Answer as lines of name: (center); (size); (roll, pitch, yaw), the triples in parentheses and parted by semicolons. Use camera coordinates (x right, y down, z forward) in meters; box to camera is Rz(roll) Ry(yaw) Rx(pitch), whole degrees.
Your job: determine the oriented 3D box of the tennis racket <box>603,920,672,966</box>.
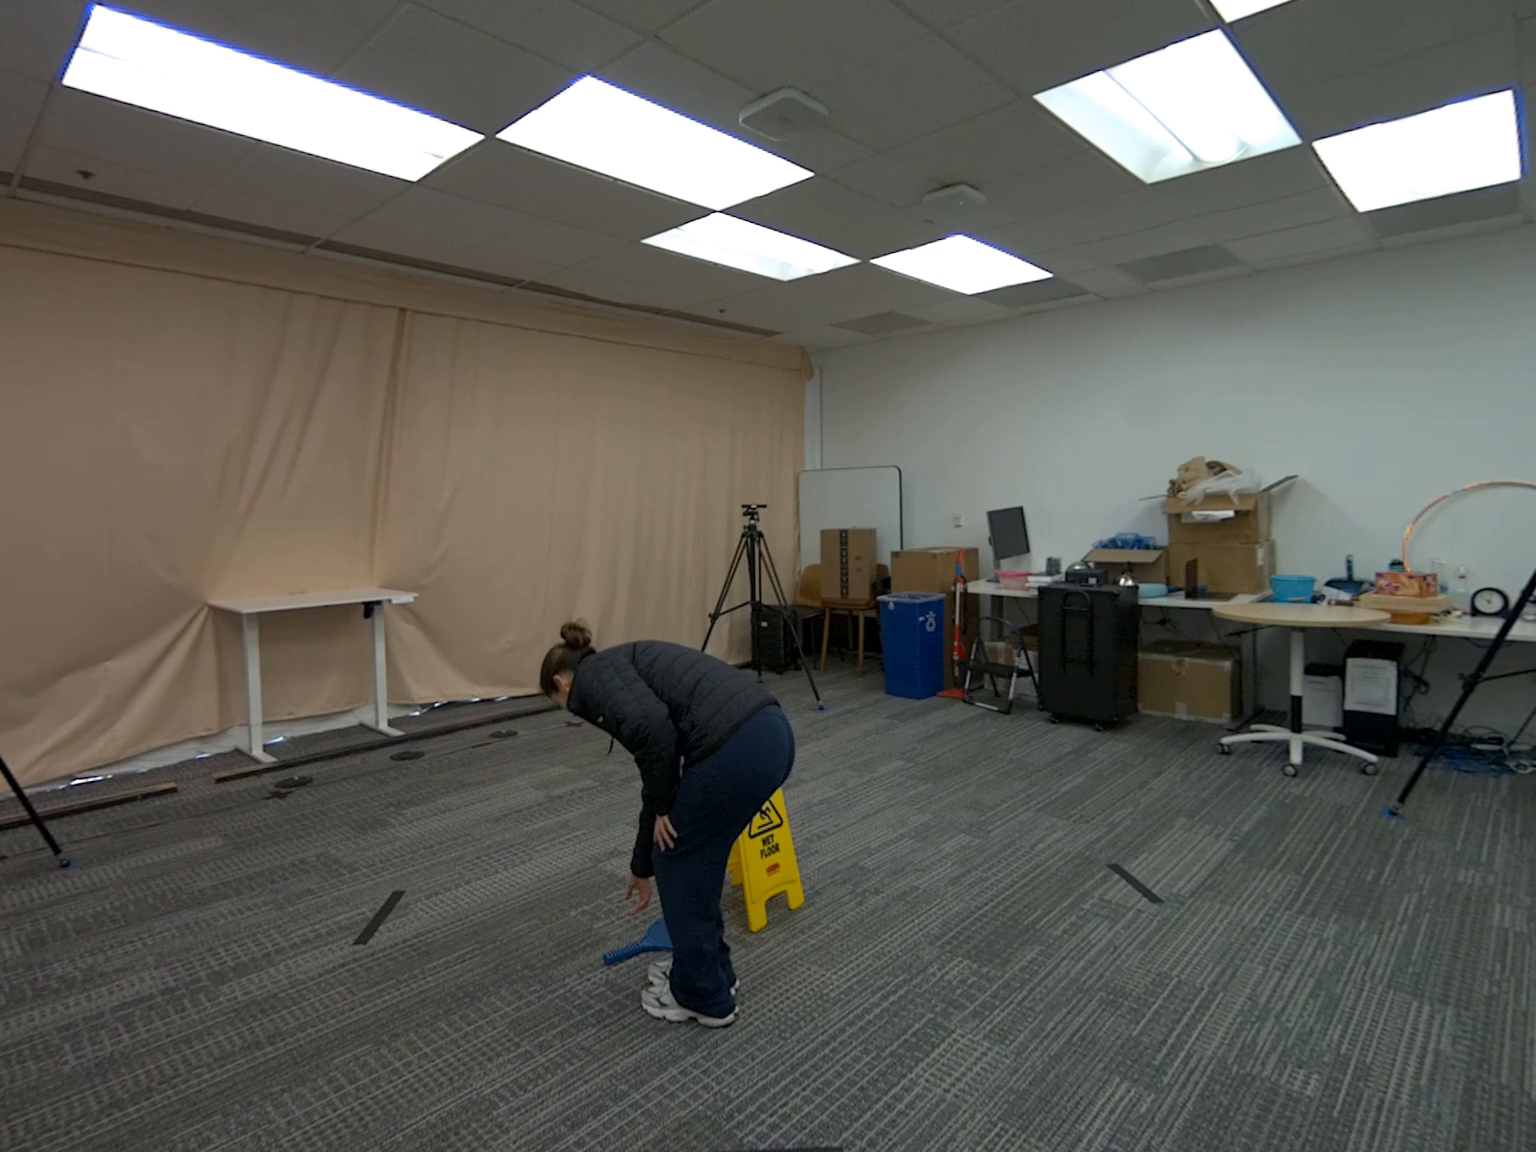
tennis racket: (-0.304, 1.154, 2.696); (0.419, 0.032, 0.221); (-3, 3, -42)
